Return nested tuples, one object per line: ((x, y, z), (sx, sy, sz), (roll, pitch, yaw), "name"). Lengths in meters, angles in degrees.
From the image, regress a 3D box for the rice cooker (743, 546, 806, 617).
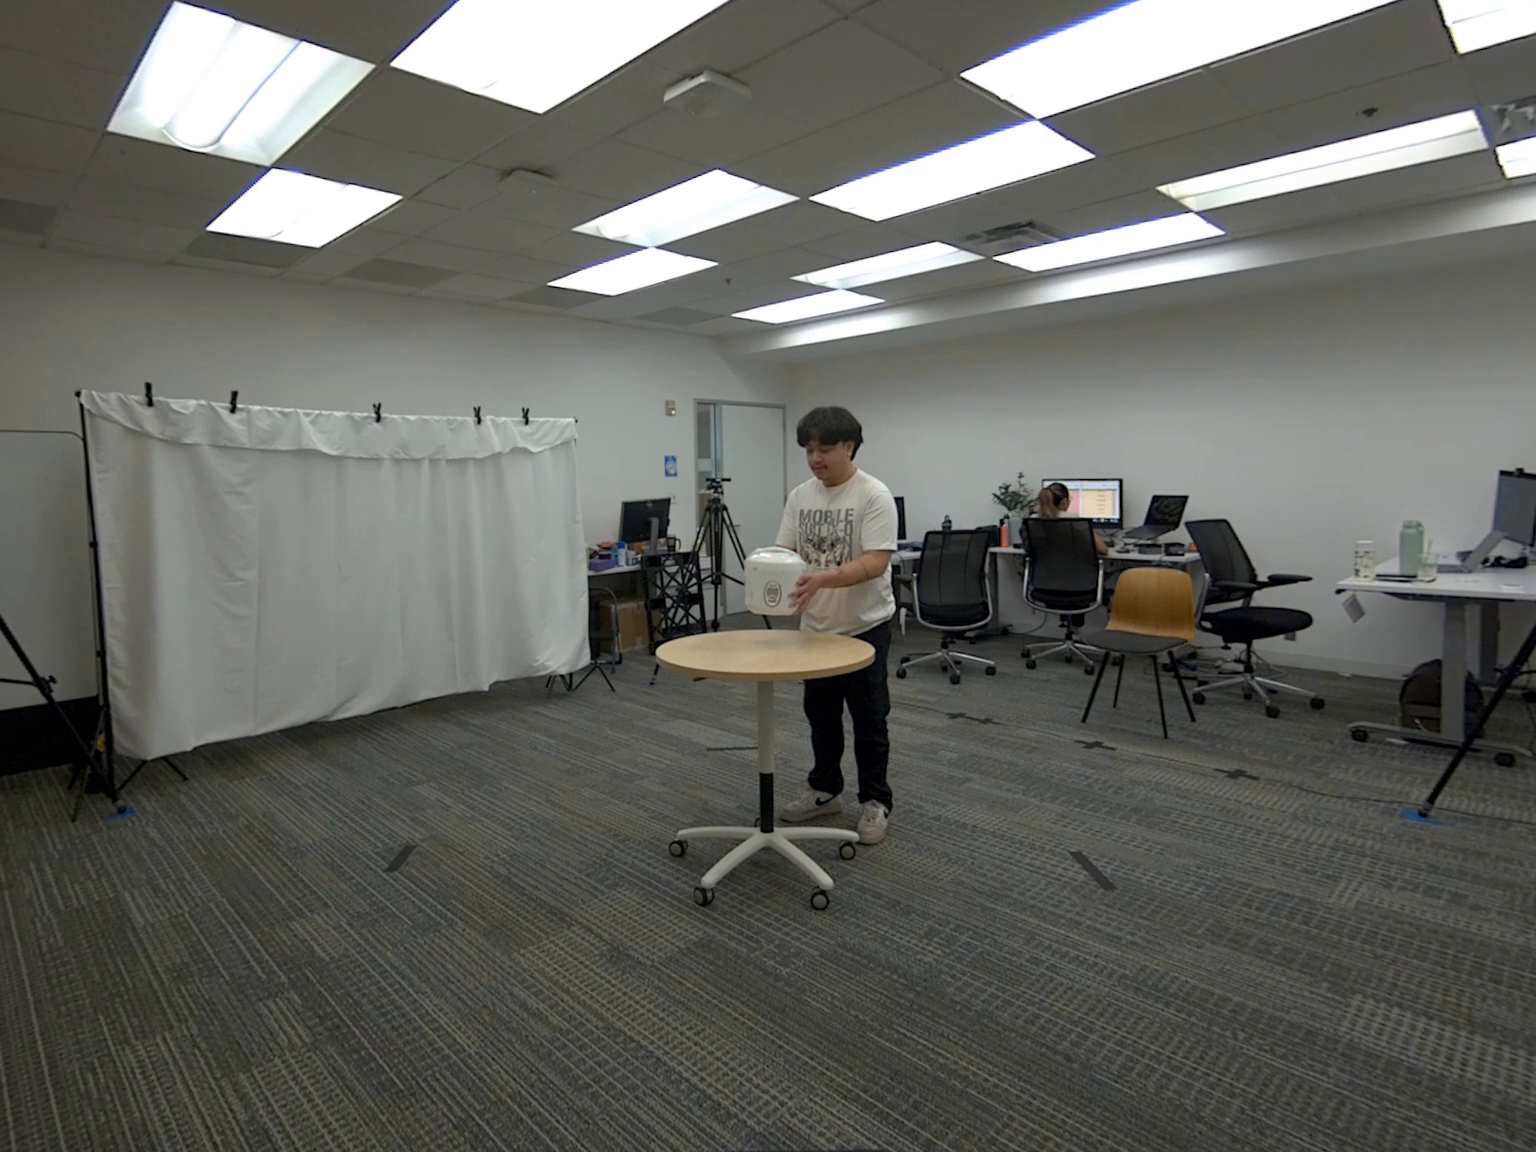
((0.025, 0.014, 3.032), (0.222, 0.232, 0.217), (1, 3, 4), "rice cooker")
